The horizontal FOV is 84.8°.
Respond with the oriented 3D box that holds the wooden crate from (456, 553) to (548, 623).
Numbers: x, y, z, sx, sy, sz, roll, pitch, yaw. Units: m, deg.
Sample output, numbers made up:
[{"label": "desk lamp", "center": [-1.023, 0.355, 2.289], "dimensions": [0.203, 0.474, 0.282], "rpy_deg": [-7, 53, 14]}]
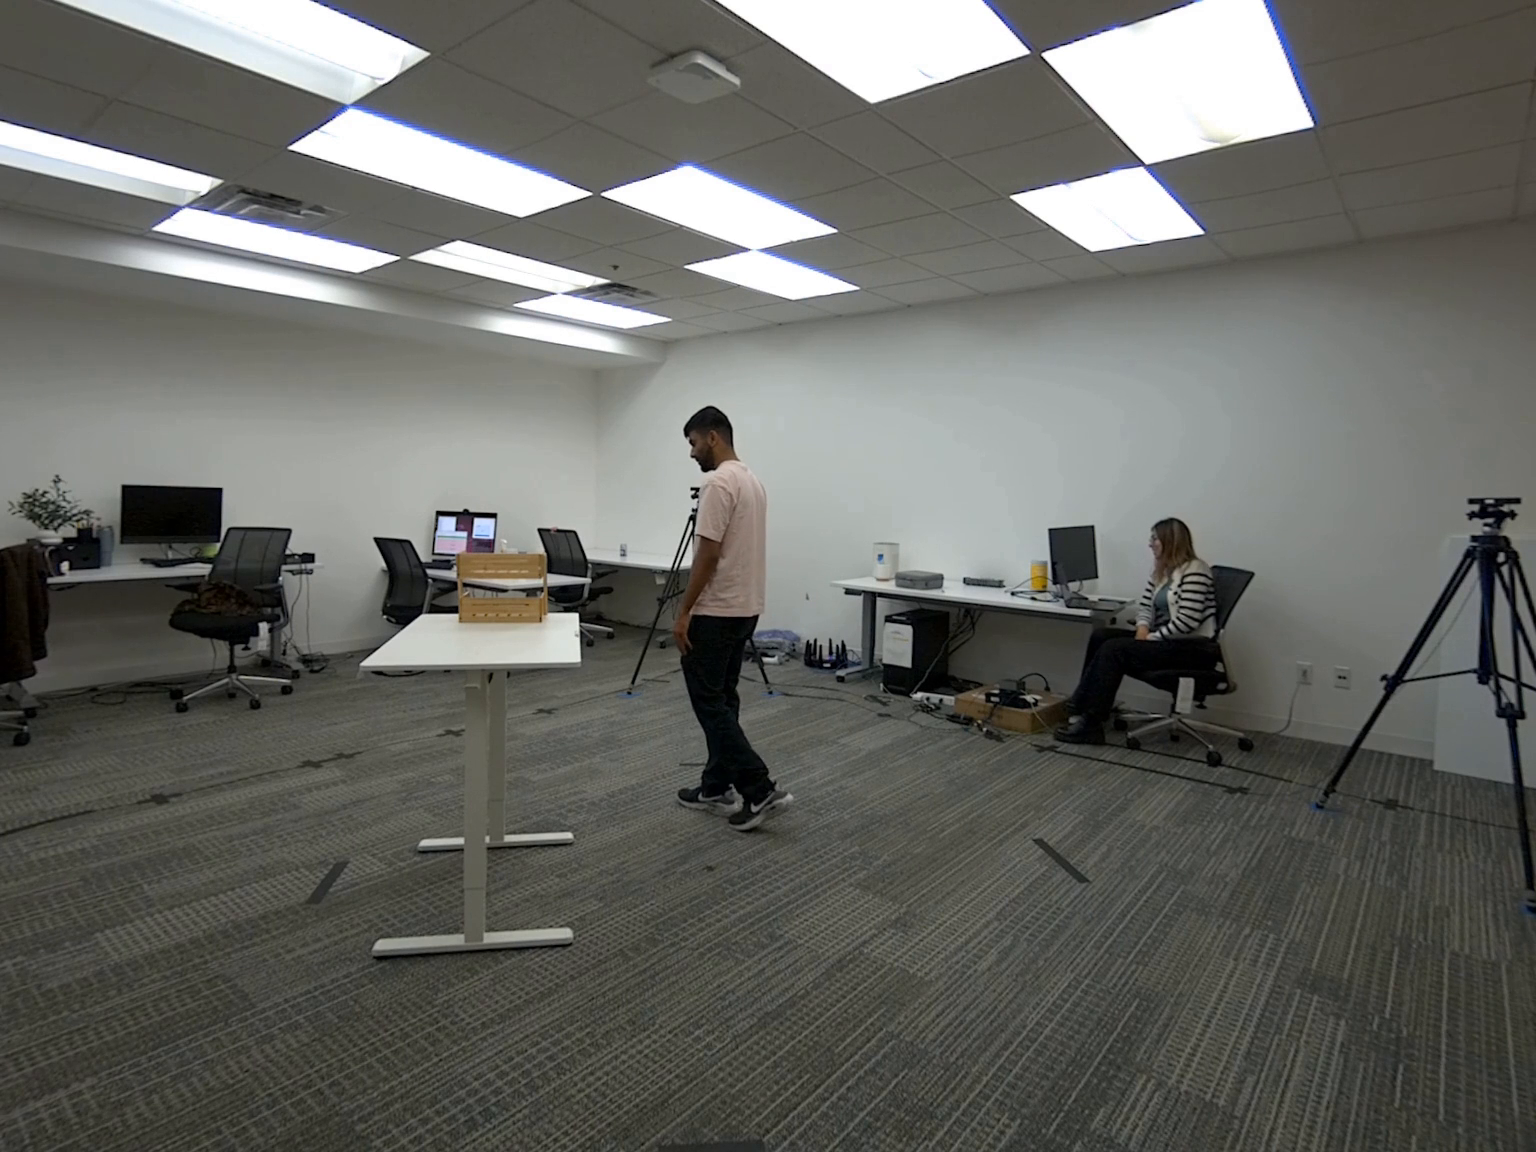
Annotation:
[{"label": "wooden crate", "center": [-1.026, 0.031, 3.232], "dimensions": [0.321, 0.272, 0.306], "rpy_deg": [0, 5, -10]}]
